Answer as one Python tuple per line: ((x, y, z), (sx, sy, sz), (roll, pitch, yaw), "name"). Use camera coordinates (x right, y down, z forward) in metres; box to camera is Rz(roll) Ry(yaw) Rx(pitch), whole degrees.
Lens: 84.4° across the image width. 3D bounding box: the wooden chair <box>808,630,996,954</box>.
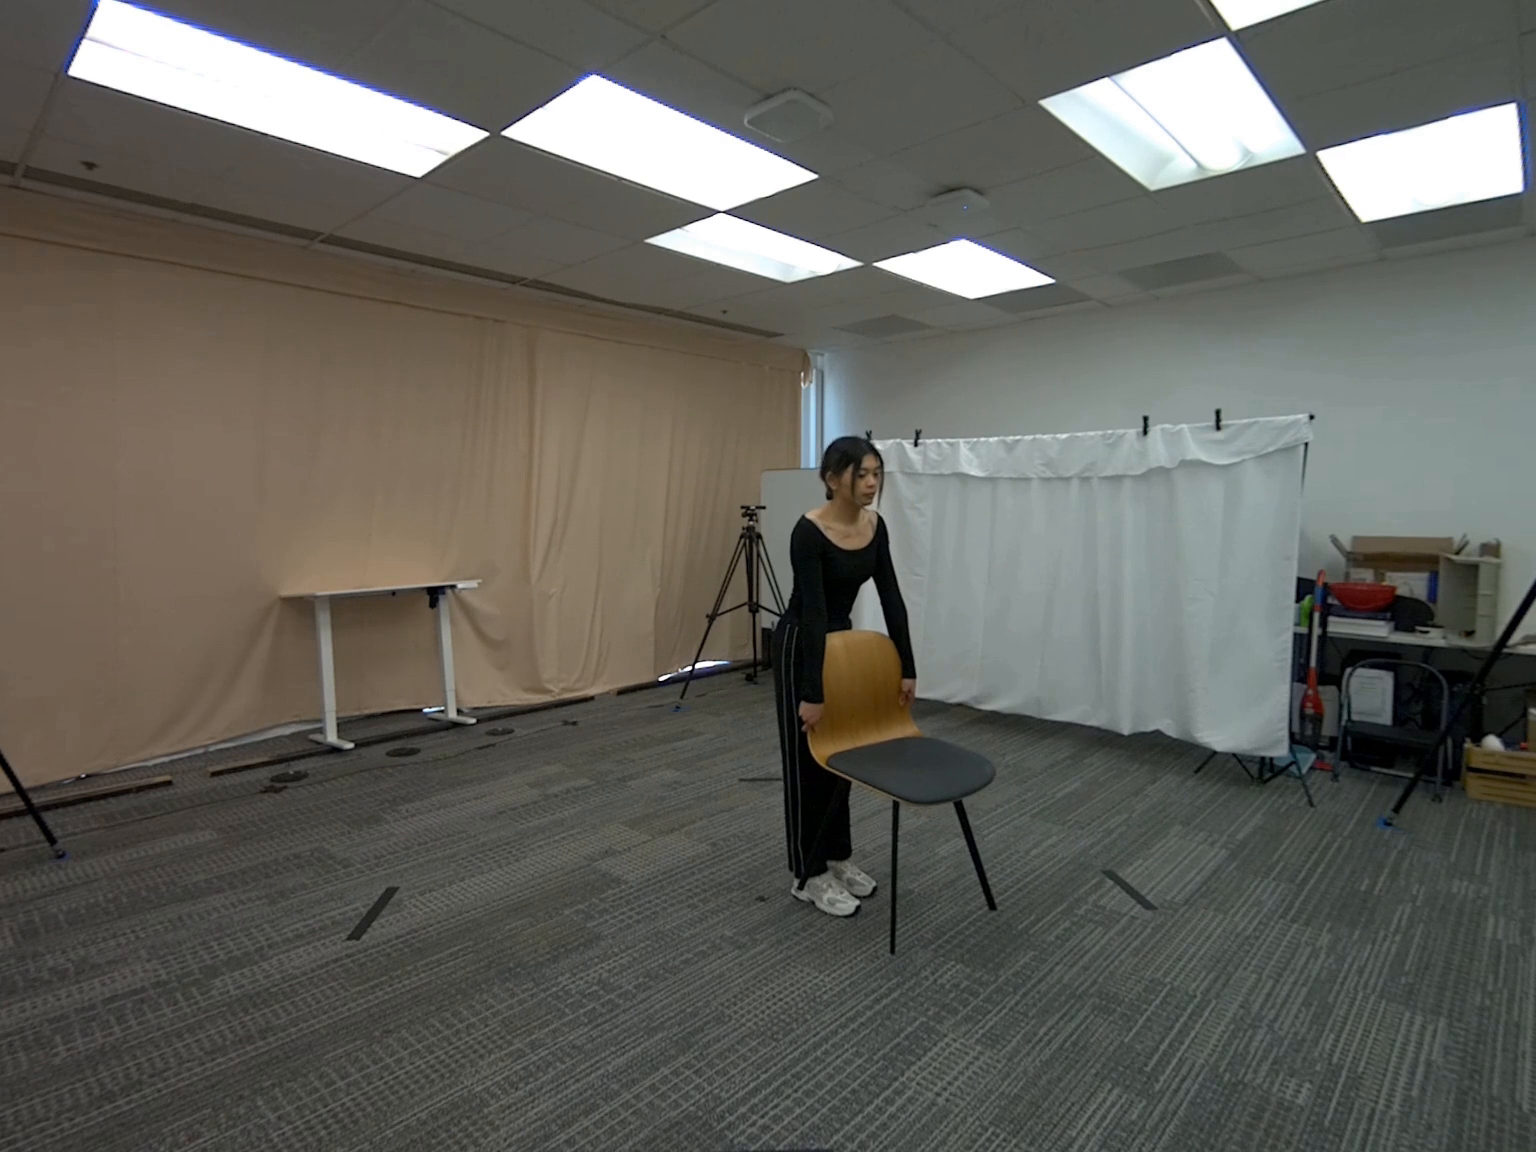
((0.424, 0.642, 2.700), (0.465, 0.876, 0.539), (-4, 3, -34), "wooden chair")
